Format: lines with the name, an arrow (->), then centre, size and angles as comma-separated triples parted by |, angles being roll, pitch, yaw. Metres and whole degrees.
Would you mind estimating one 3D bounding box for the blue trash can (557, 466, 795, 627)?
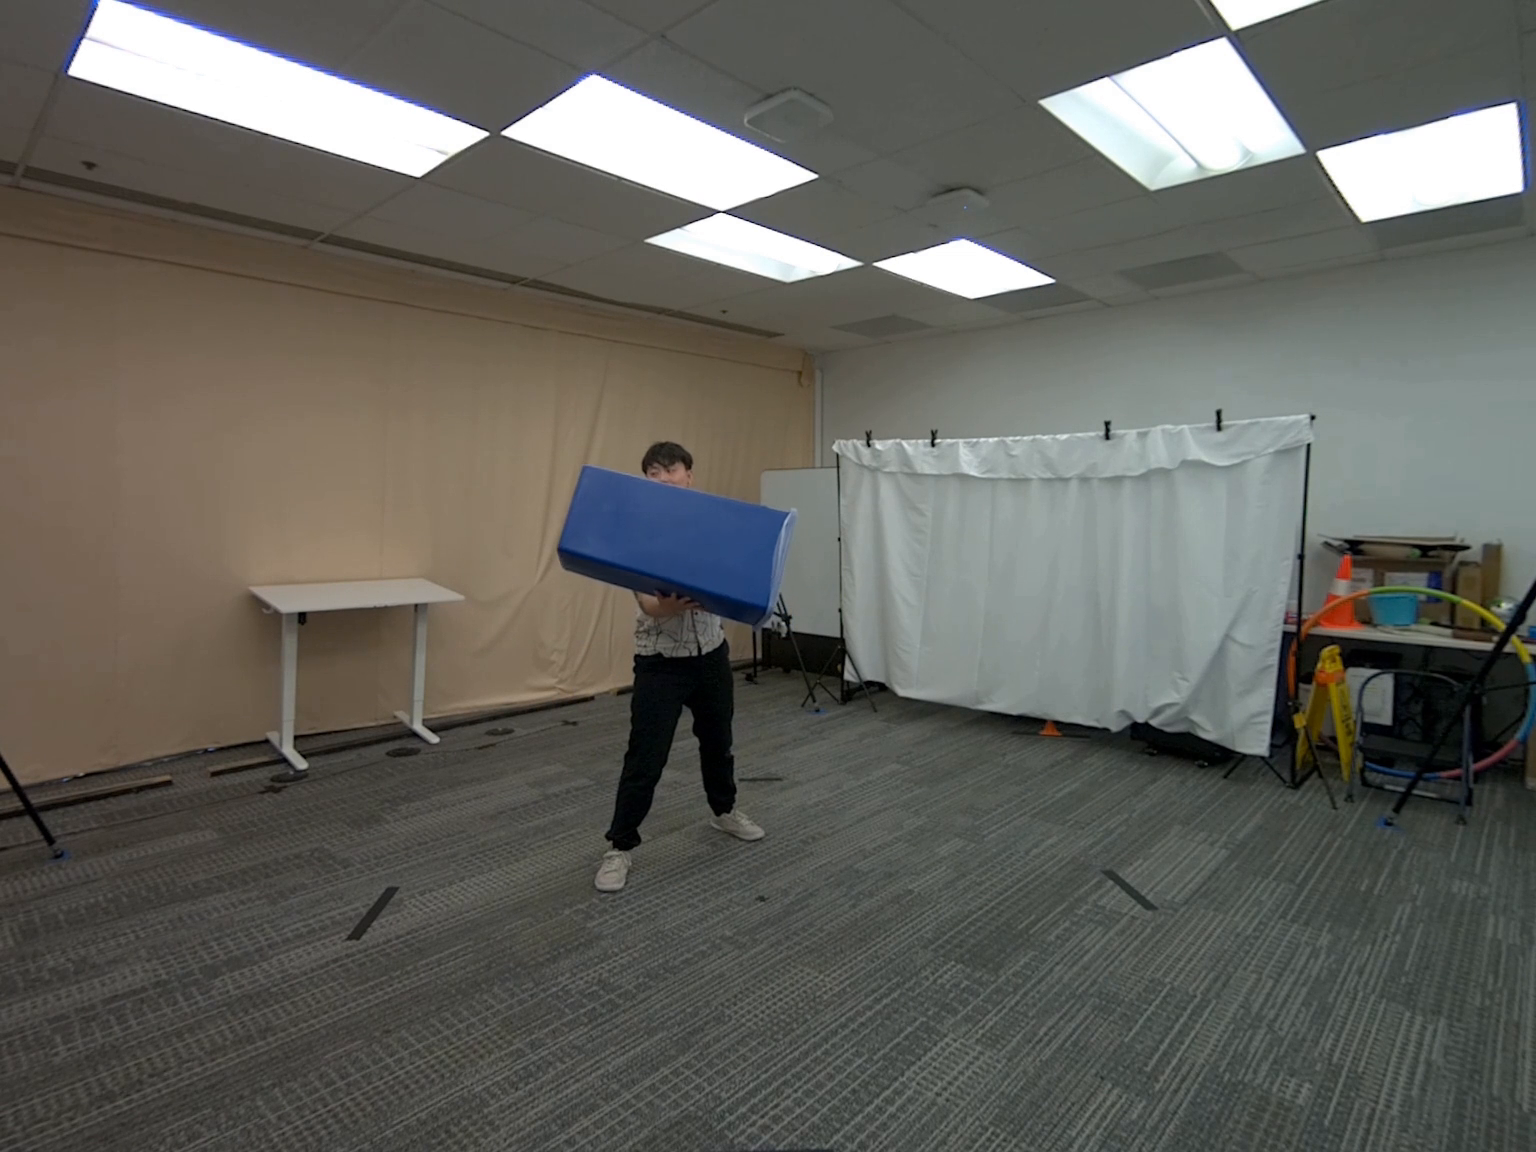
blue trash can -> -0.306, -0.105, 2.830 | 0.712, 0.376, 0.377 | 16, -14, -3
